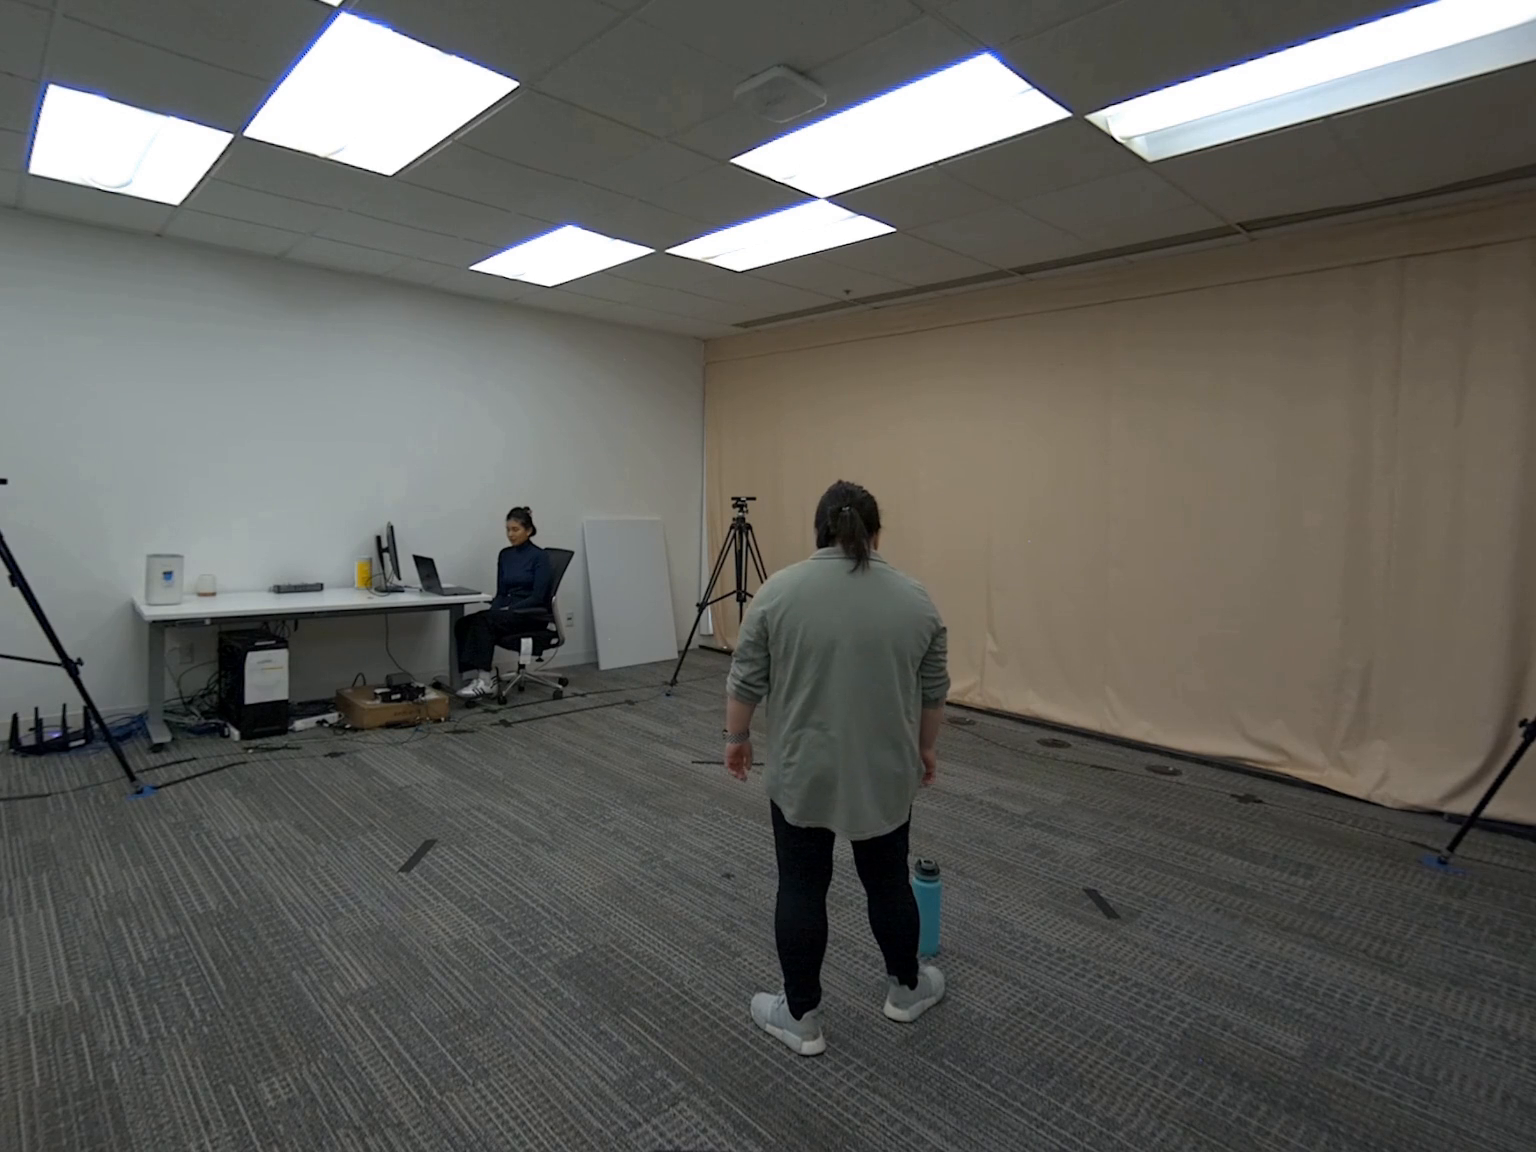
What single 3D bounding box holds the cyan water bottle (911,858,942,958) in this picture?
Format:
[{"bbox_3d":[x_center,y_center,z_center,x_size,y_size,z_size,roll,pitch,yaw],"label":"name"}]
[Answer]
[{"bbox_3d":[0.490,1.027,2.623,0.092,0.283,0.092,1,3,-1],"label":"cyan water bottle"}]
